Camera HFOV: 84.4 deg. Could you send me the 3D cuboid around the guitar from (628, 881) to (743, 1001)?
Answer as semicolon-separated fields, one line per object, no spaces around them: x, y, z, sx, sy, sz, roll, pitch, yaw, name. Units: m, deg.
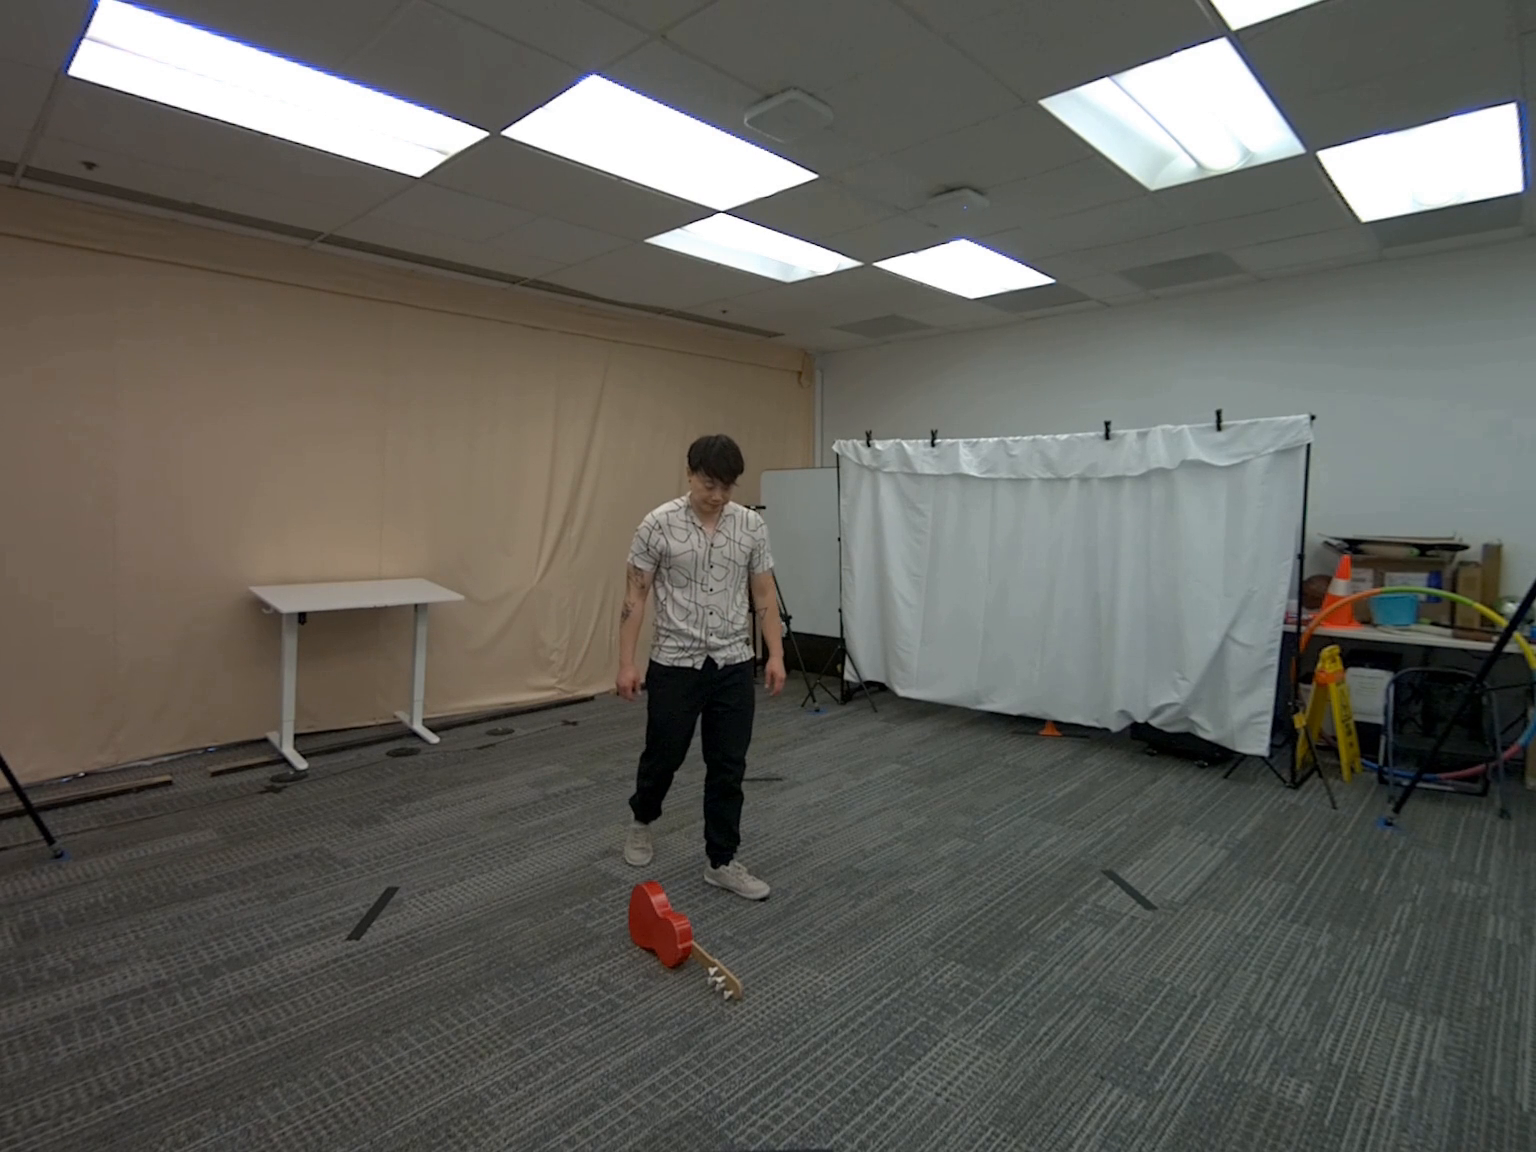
-0.259;1.093;2.530;0.068;0.193;0.514;2;3;-40;guitar
